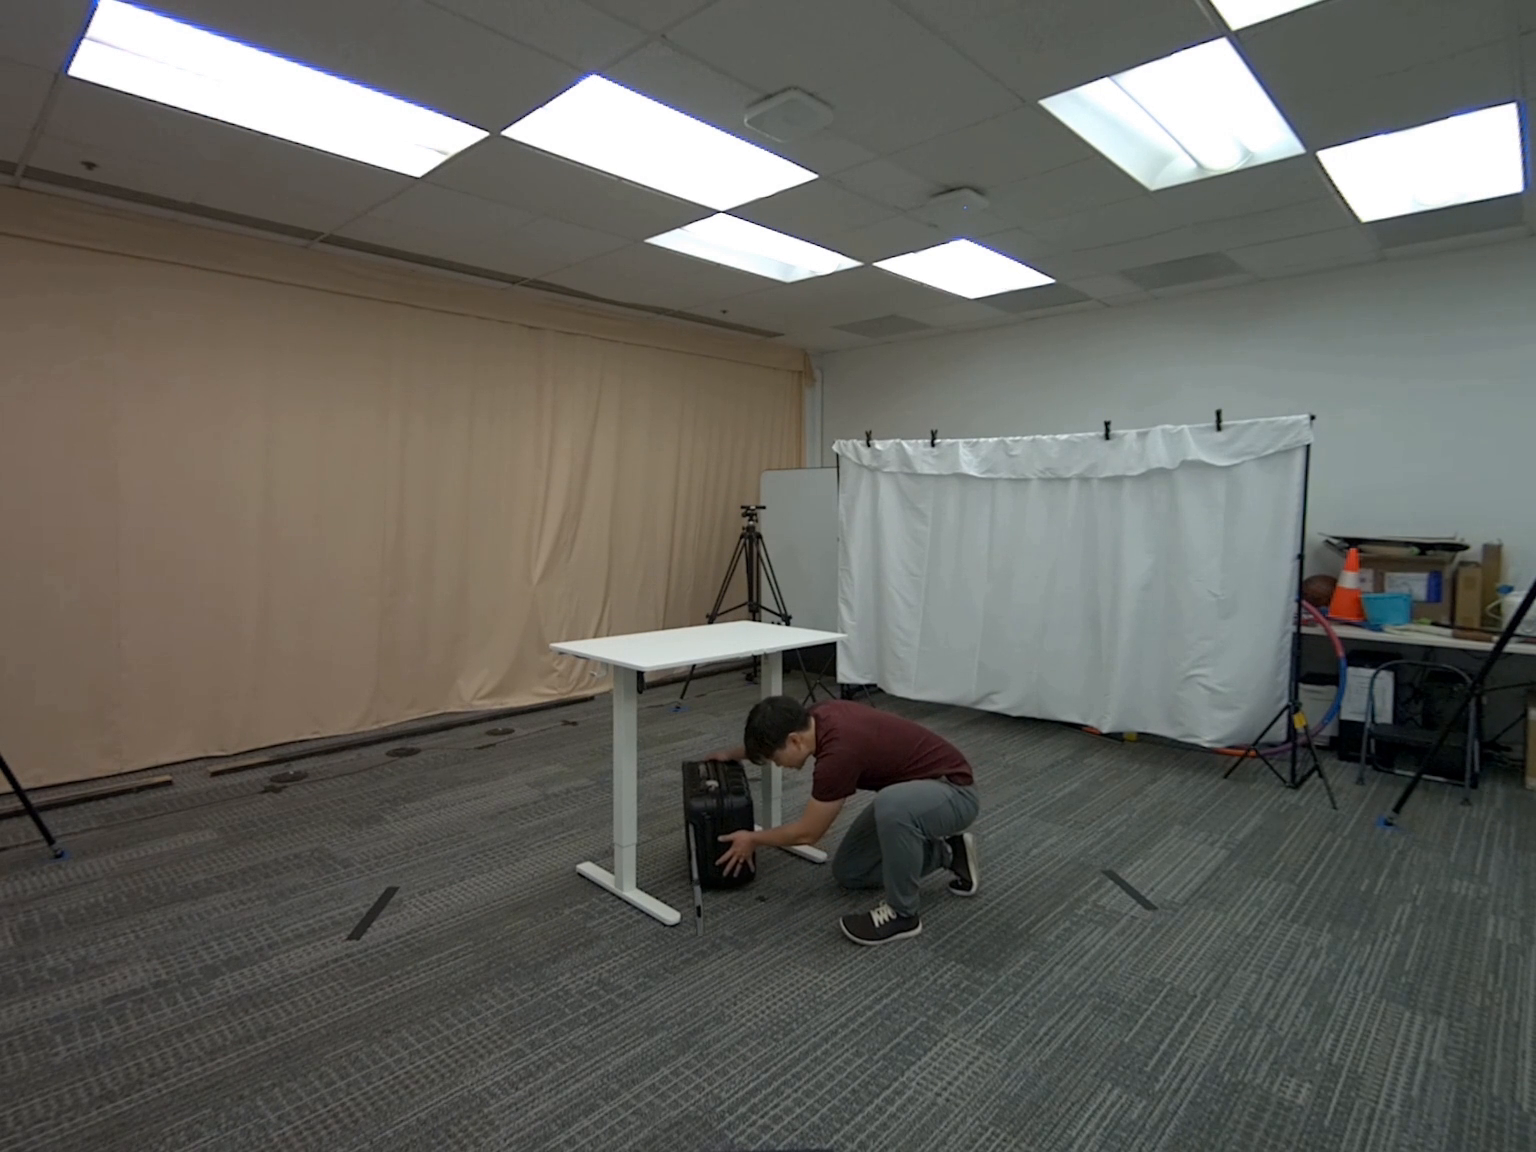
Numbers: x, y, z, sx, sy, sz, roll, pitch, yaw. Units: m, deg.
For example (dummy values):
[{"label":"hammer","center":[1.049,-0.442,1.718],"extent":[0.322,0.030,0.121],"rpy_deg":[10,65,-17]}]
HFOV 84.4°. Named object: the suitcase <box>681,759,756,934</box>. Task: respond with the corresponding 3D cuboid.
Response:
[{"label":"suitcase","center":[-0.155,0.952,3.039],"extent":[0.255,0.383,0.988],"rpy_deg":[-5,5,-8]}]
